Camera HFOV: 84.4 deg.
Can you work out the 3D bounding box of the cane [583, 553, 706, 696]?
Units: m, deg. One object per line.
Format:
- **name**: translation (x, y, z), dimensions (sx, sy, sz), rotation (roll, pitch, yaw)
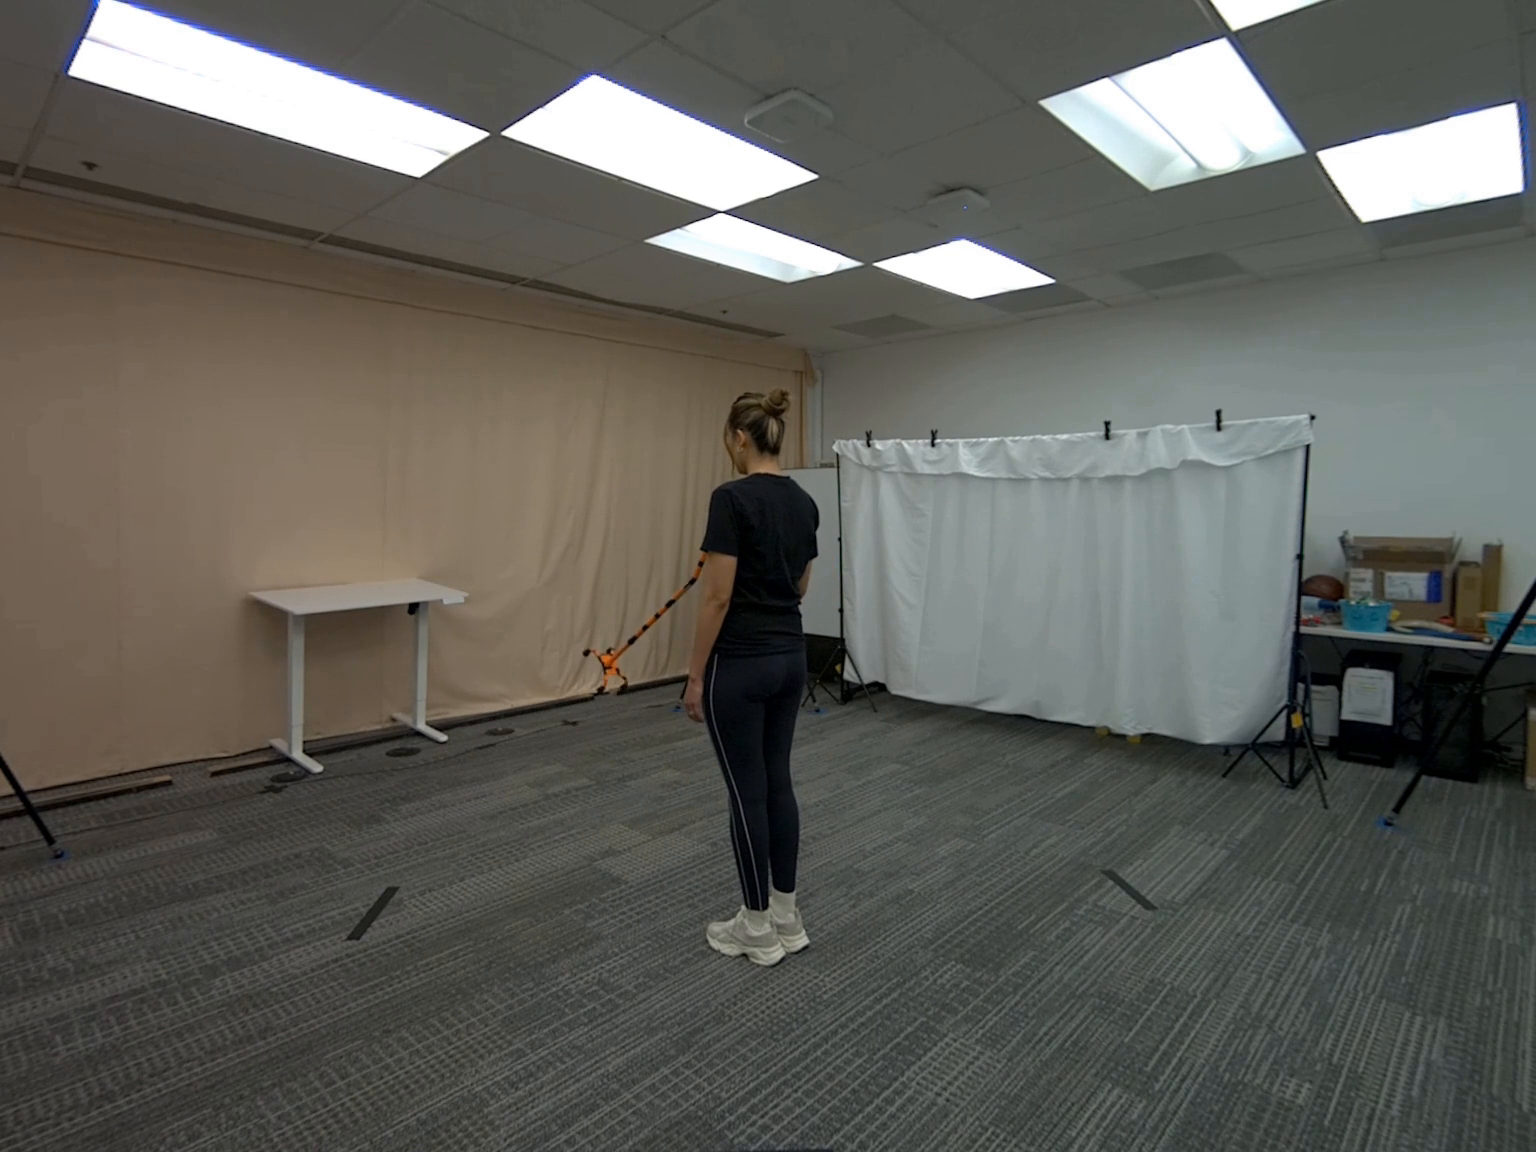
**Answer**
- **cane**: translation (-0.426, 0.171, 3.316), dimensions (0.146, 0.211, 0.916), rotation (3, -37, -45)
